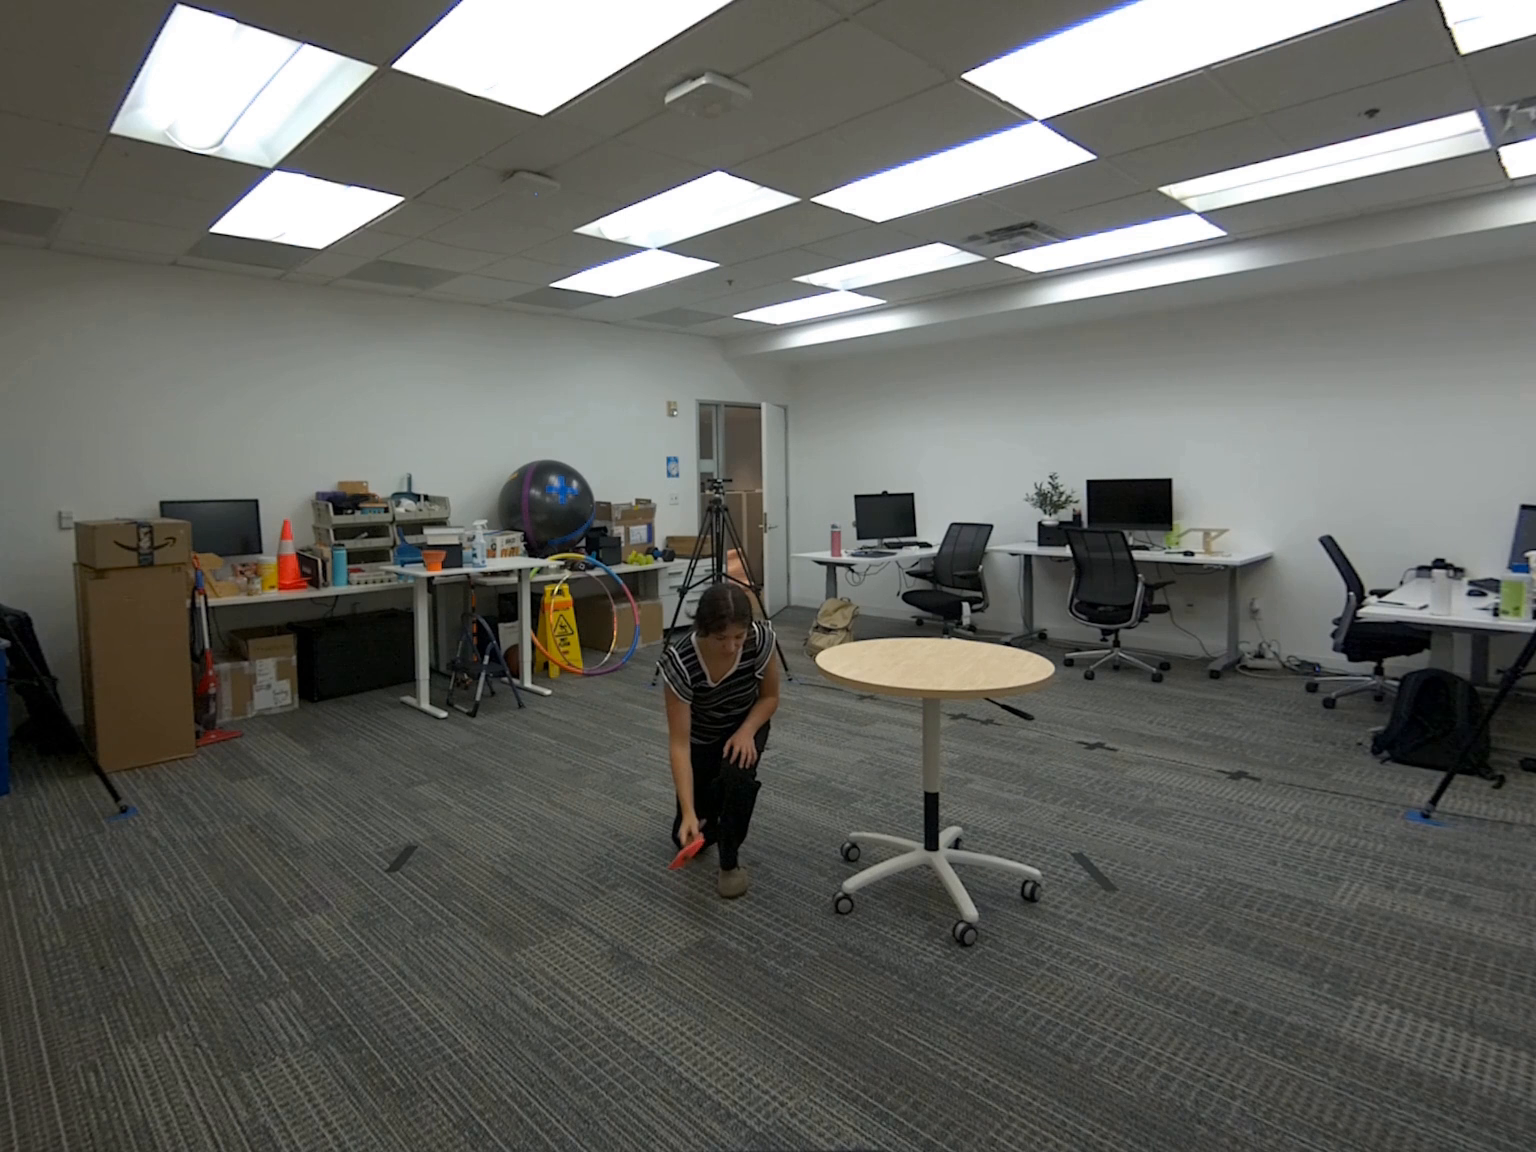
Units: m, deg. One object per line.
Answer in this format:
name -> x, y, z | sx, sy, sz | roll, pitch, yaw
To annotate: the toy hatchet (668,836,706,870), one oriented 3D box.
toy hatchet -> -0.220, 0.805, 2.628 | 0.131, 0.029, 0.269 | -41, 1, 19
